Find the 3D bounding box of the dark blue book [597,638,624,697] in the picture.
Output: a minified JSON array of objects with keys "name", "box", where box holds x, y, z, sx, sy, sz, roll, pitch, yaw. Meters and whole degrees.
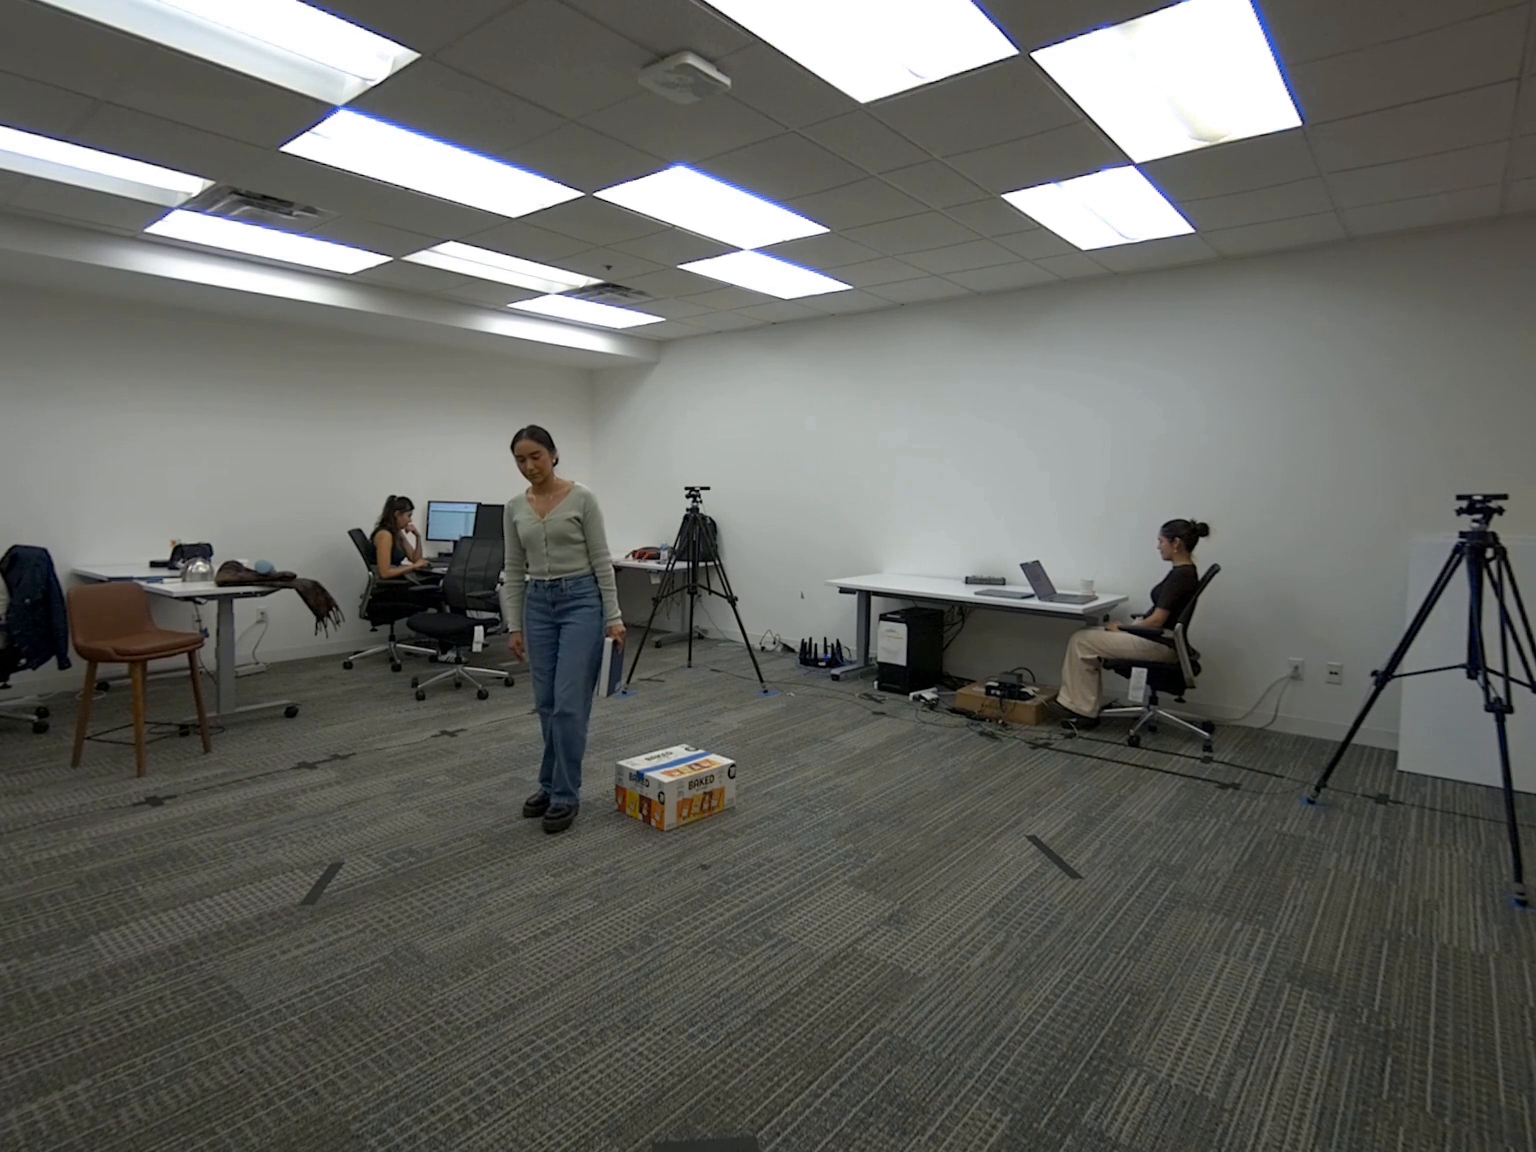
[{"name":"dark blue book","box":[-0.680,0.379,3.593,0.046,0.244,0.162,7,3,8]}]
